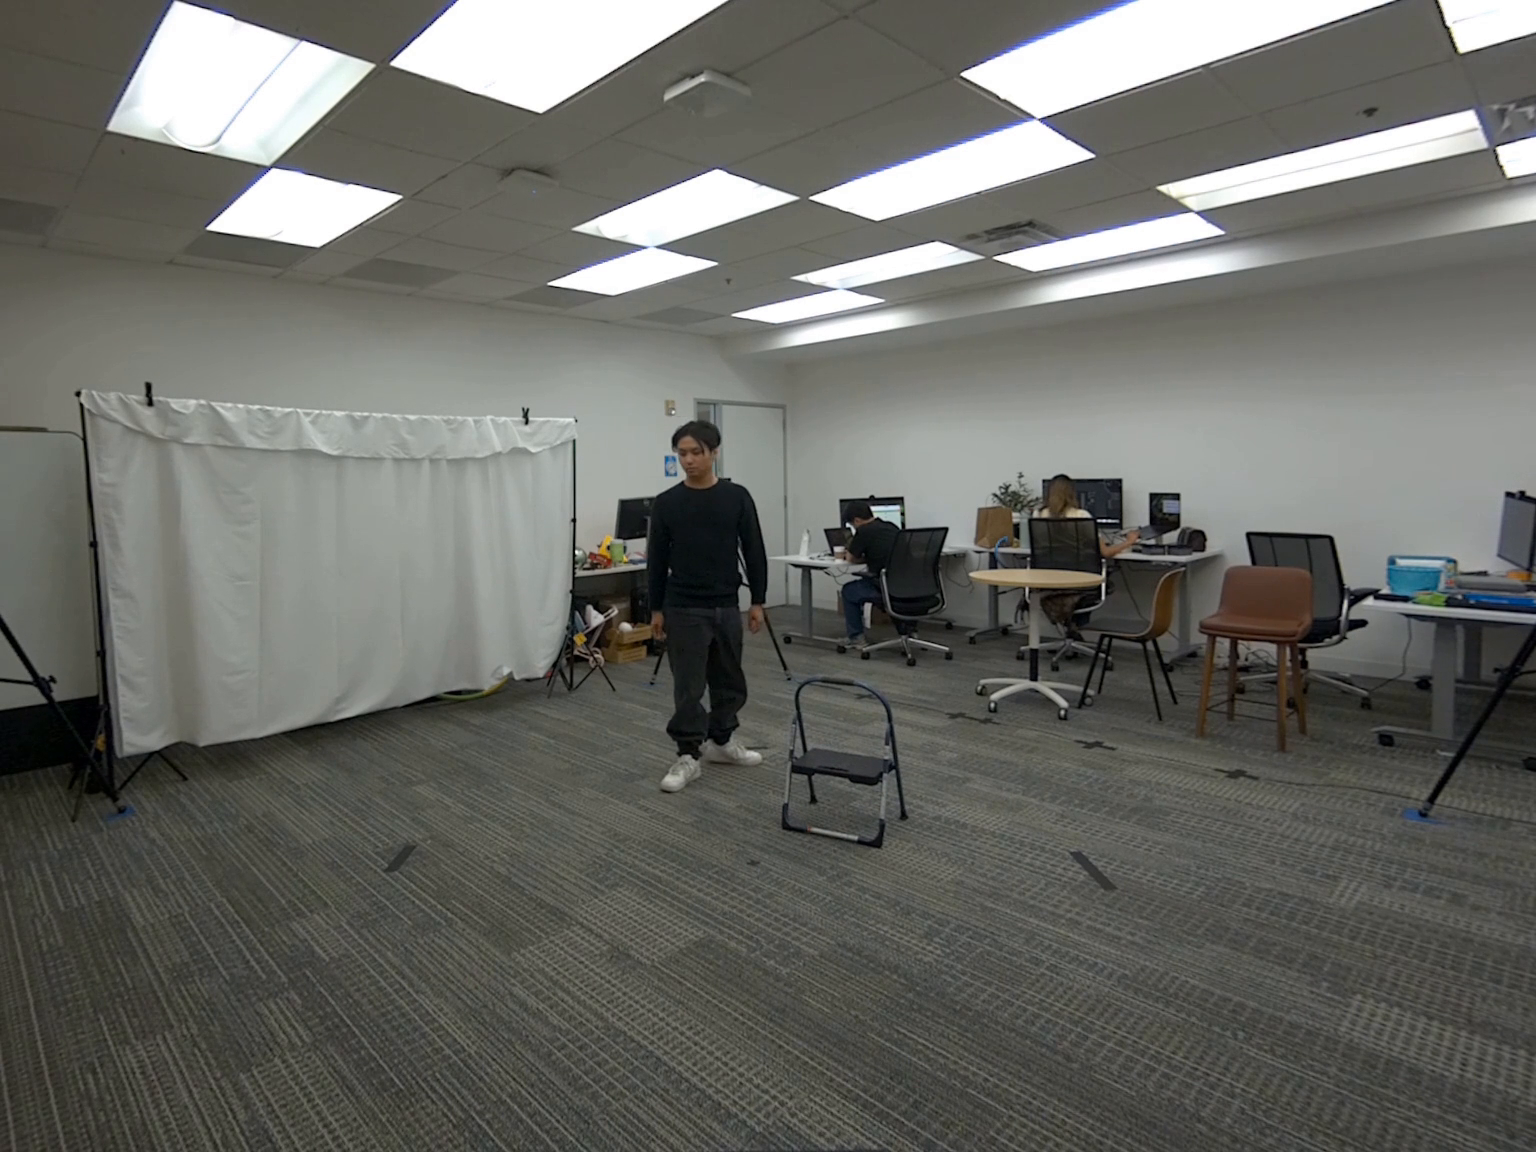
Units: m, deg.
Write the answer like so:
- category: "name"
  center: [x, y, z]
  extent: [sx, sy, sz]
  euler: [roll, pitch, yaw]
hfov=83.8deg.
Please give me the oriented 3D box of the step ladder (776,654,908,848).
- category: "step ladder"
  center: [0.306, 0.696, 3.434]
  extent: [0.441, 0.604, 0.342]
  euler: [1, 4, 27]
